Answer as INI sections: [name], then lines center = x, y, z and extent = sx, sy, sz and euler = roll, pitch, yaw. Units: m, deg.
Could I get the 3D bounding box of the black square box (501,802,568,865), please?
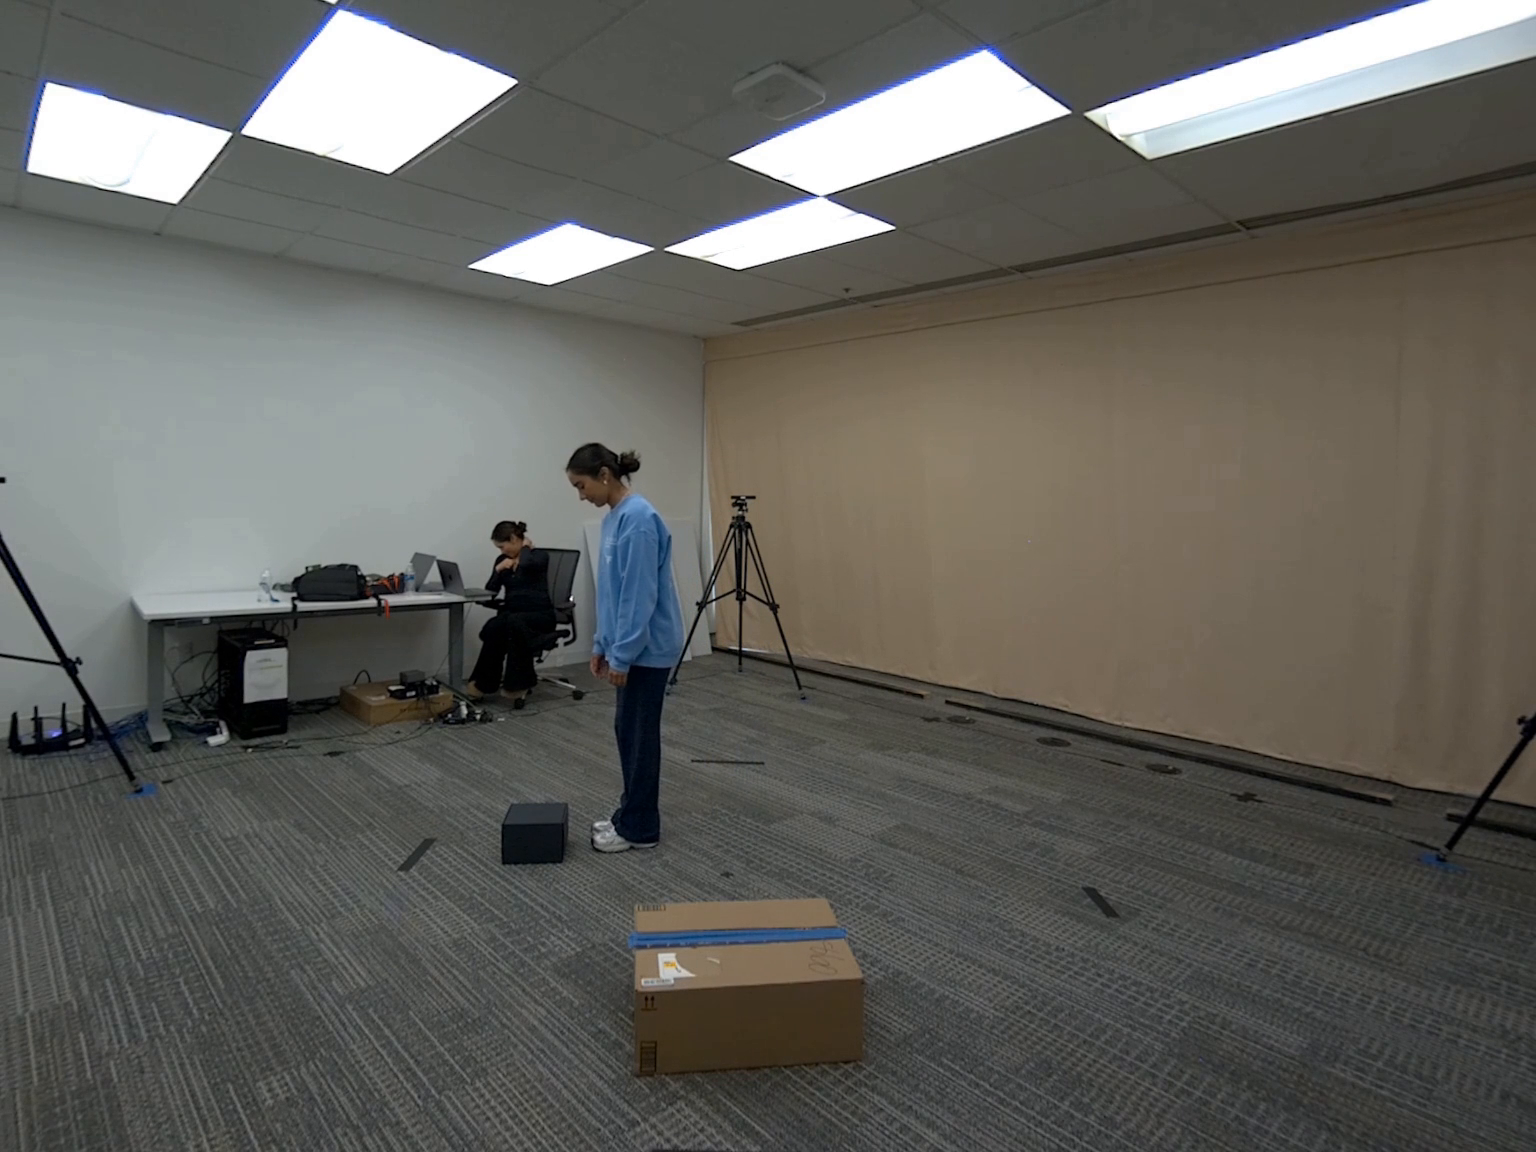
[black square box]
center = -0.906, 0.989, 3.252
extent = 0.226, 0.155, 0.219
euler = 1, 6, -7
